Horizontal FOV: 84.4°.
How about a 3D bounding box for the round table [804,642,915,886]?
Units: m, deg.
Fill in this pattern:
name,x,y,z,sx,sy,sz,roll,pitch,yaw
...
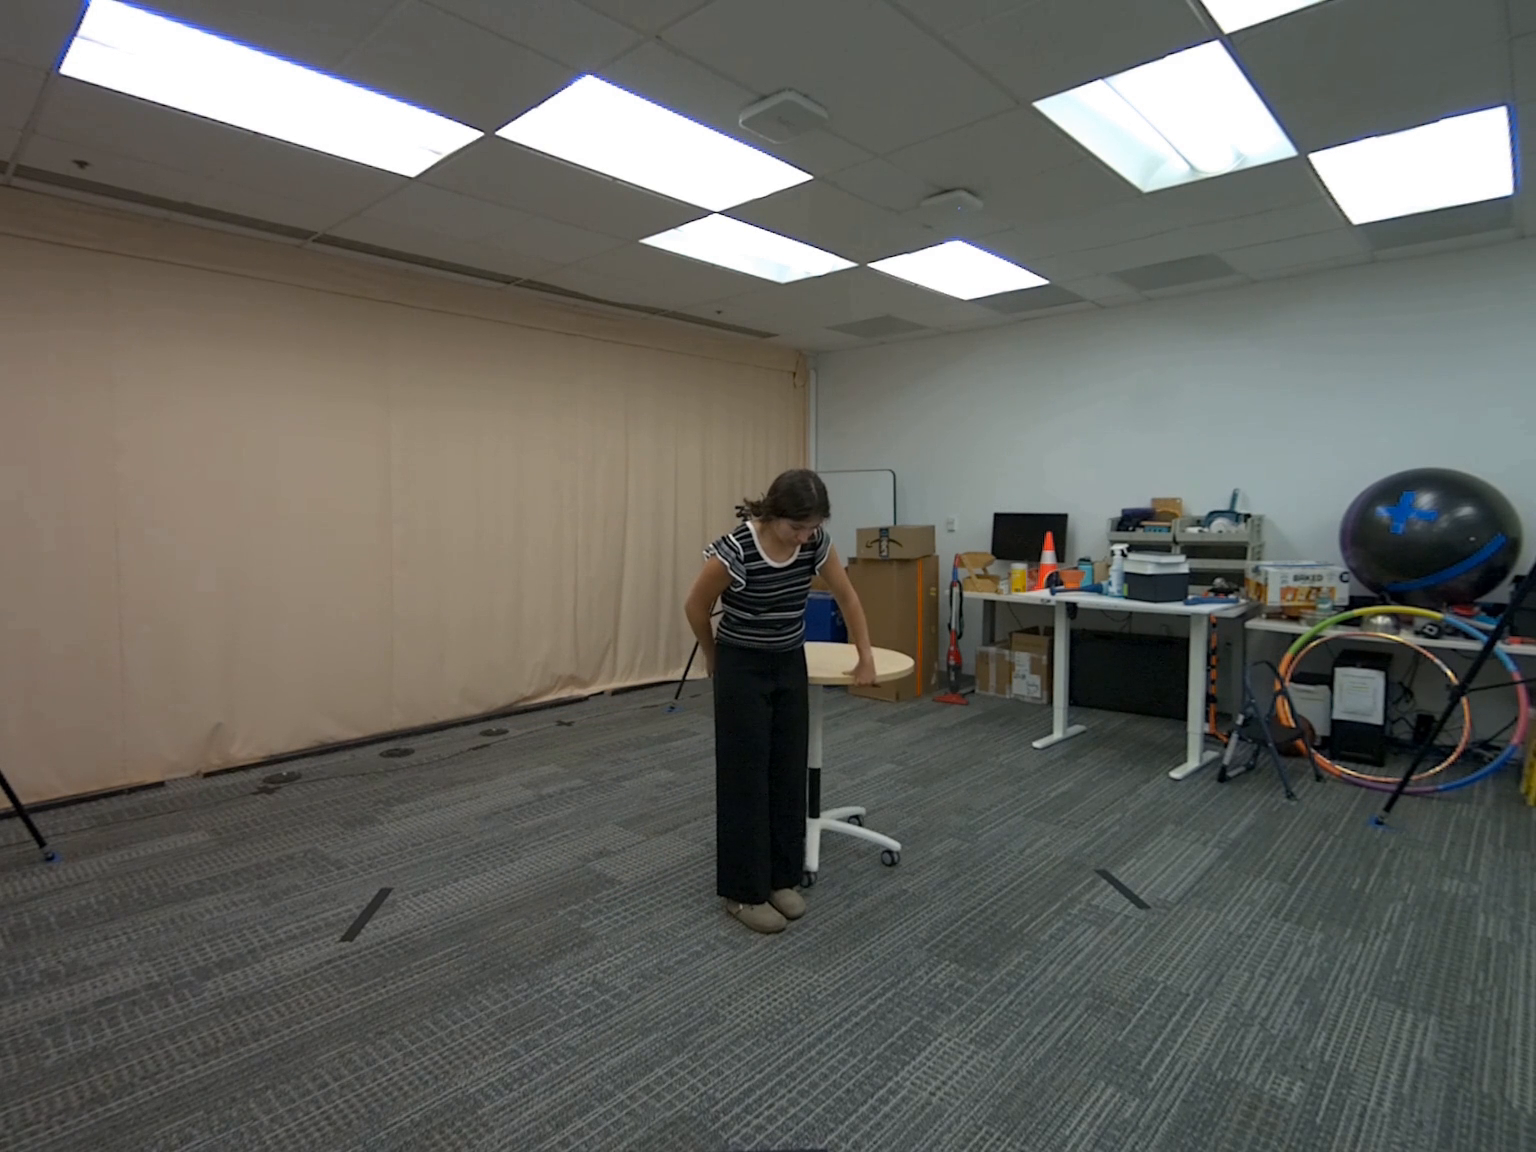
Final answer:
name,x,y,z,sx,sy,sz,roll,pitch,yaw
round table,0.180,0.717,3.366,0.784,0.785,0.788,0,3,-2
